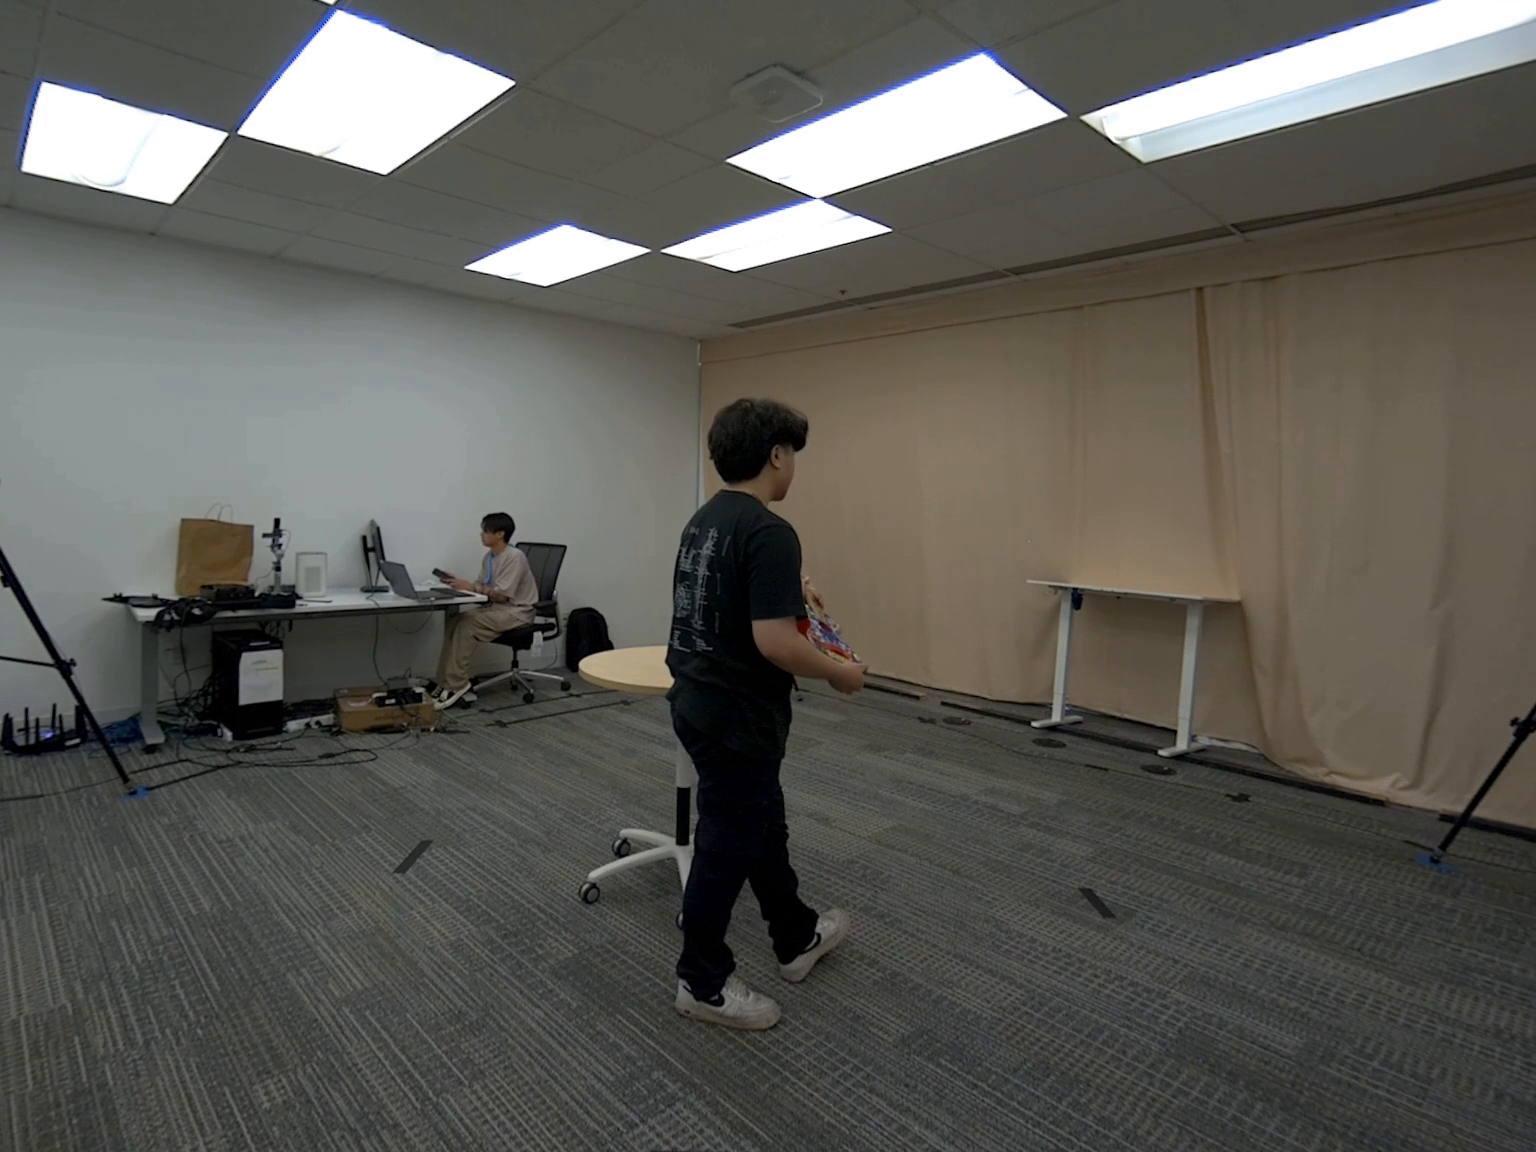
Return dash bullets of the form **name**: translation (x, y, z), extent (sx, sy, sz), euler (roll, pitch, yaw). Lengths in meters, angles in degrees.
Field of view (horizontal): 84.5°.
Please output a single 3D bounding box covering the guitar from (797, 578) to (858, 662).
- **guitar**: translation (0.143, 0.139, 2.441), extent (0.190, 0.070, 0.508), euler (30, 20, -18)
